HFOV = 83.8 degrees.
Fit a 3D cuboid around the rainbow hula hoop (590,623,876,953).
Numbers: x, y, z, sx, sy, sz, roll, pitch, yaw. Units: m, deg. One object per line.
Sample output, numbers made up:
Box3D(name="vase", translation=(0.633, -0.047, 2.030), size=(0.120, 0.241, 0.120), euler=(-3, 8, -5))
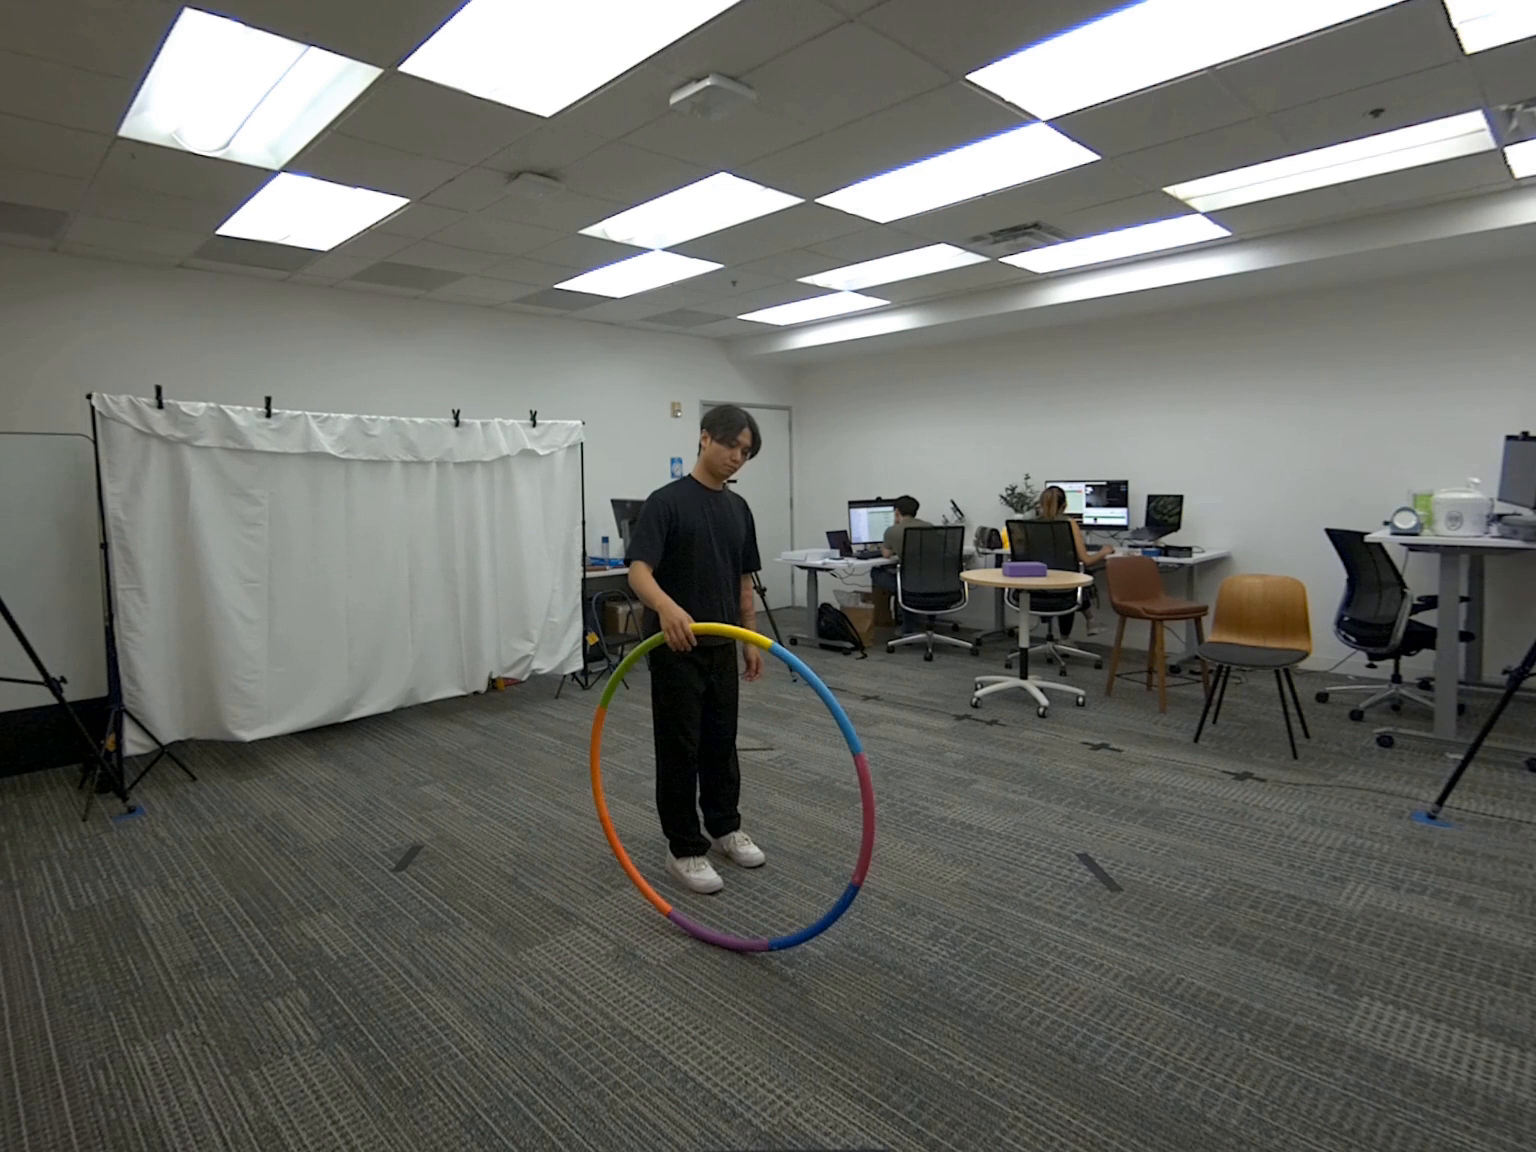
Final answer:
Box3D(name="rainbow hula hoop", translation=(-0.145, 0.632, 2.537), size=(1.005, 0.974, 0.035), euler=(2, 5, 32))
